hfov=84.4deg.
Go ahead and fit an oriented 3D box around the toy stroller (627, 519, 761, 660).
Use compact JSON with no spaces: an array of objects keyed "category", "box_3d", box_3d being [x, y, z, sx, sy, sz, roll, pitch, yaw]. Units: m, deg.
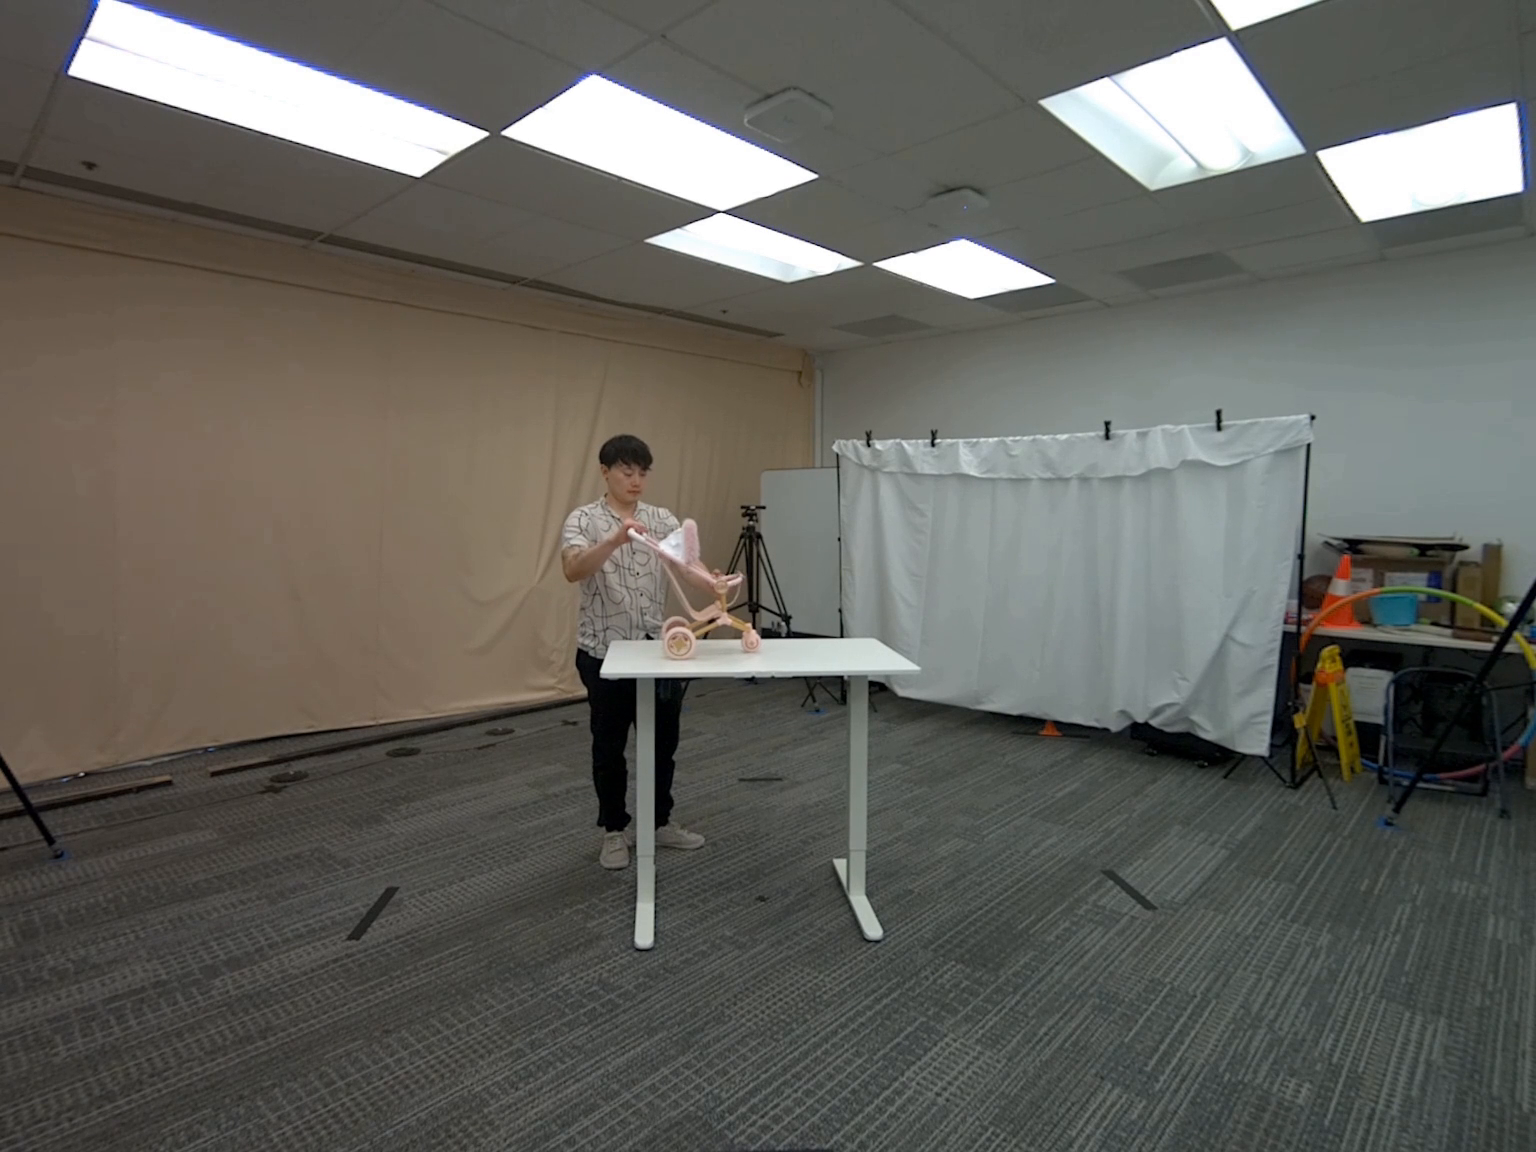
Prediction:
[{"category":"toy stroller","box_3d":[-0.242,0.045,2.897,0.341,0.533,0.282,-15,4,-1]}]
